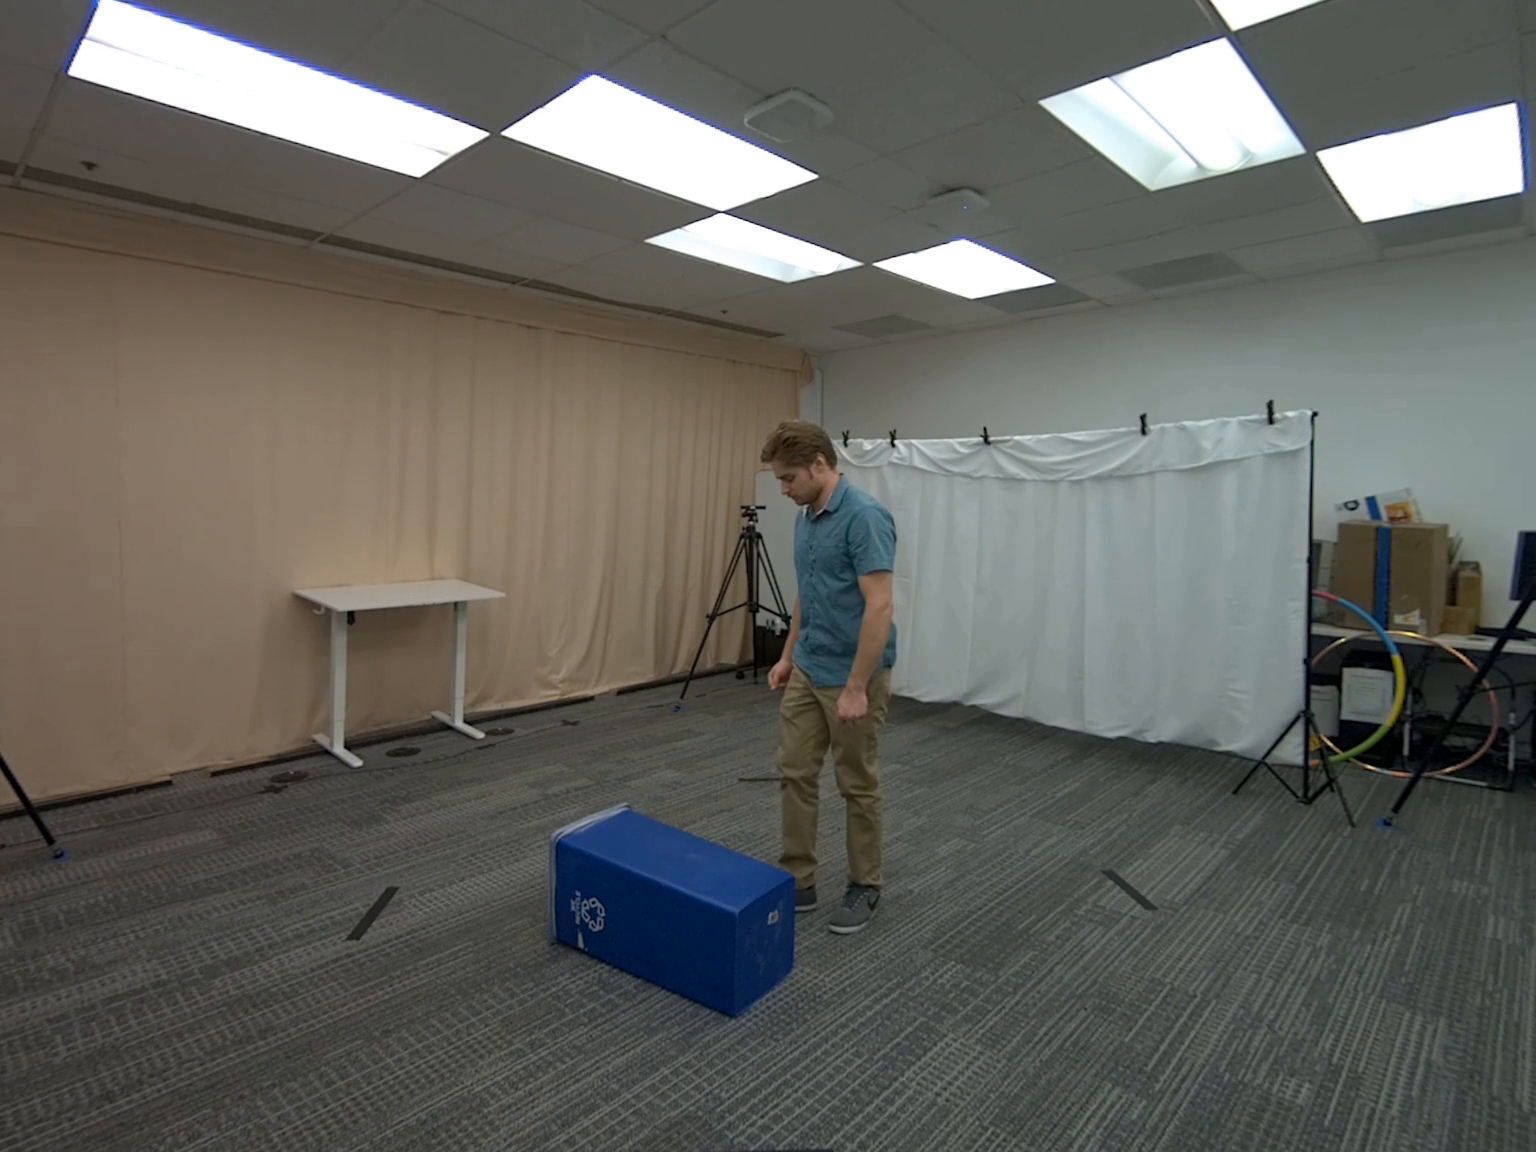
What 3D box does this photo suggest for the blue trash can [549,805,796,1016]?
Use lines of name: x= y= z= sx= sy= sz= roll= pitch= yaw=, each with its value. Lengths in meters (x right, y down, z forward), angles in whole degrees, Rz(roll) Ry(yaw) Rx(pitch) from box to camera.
blue trash can: x=-0.295 y=1.013 z=2.604 sx=0.737 sy=0.377 sz=0.363 roll=6 pitch=6 yaw=35
